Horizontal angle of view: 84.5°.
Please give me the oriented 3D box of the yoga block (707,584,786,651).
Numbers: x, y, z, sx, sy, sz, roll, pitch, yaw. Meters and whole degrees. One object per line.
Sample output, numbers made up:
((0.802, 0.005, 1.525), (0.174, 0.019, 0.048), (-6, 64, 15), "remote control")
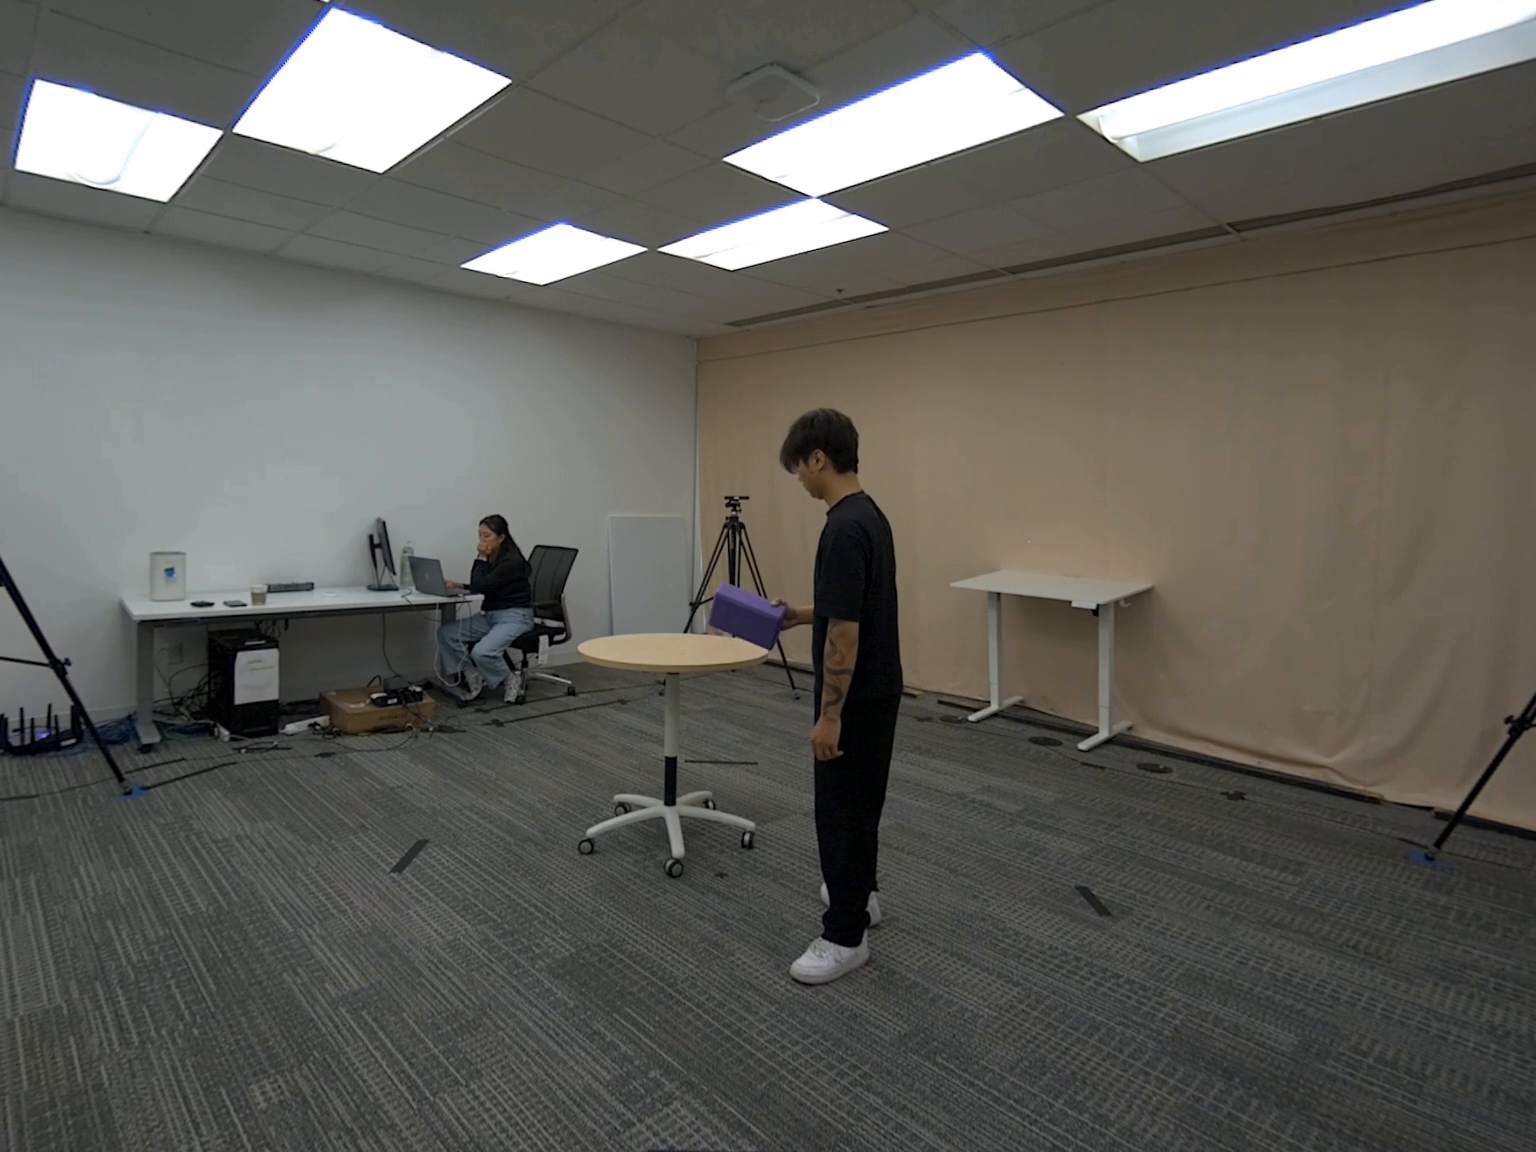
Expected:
((-0.070, 0.131, 2.732), (0.232, 0.146, 0.076), (22, 39, 12), "yoga block")
